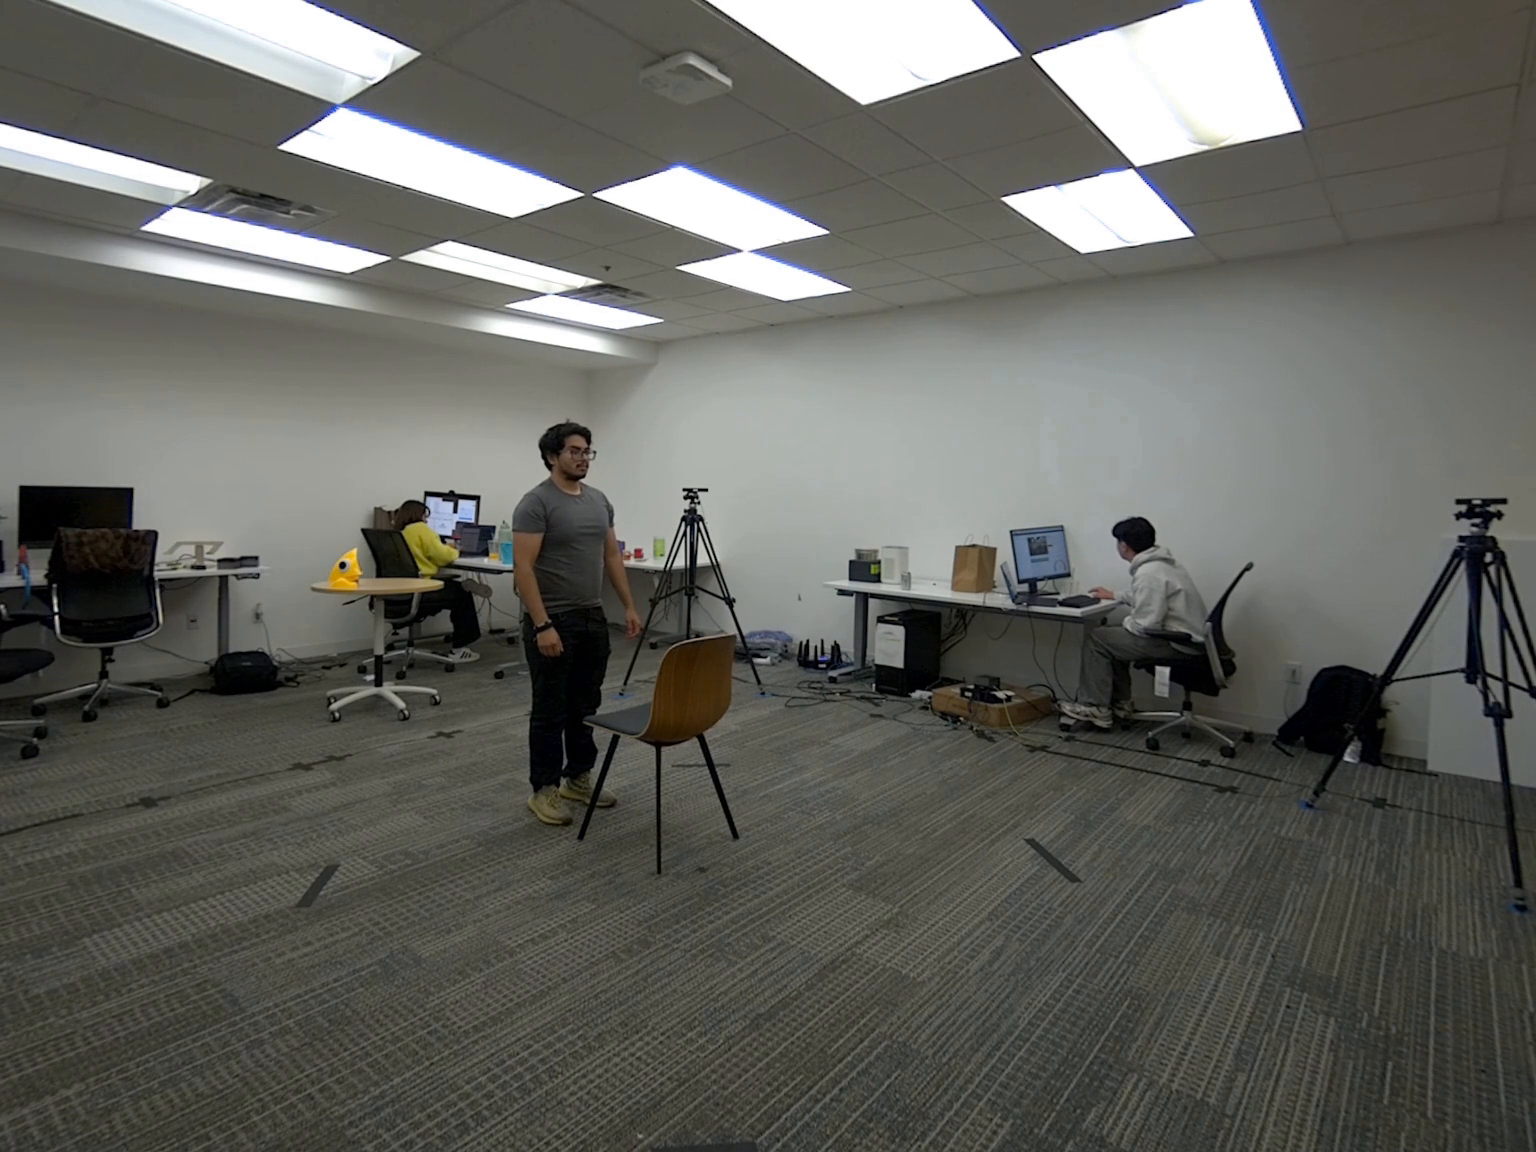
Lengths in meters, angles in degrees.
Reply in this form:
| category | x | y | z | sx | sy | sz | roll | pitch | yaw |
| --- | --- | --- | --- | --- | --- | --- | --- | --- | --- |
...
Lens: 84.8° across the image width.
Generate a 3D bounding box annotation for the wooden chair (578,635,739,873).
| category | x | y | z | sx | sy | sz | roll | pitch | yaw |
| --- | --- | --- | --- | --- | --- | --- | --- | --- | --- |
| wooden chair | -0.440 | 0.617 | 3.350 | 0.542 | 0.873 | 0.464 | 9 | 7 | 39 |
